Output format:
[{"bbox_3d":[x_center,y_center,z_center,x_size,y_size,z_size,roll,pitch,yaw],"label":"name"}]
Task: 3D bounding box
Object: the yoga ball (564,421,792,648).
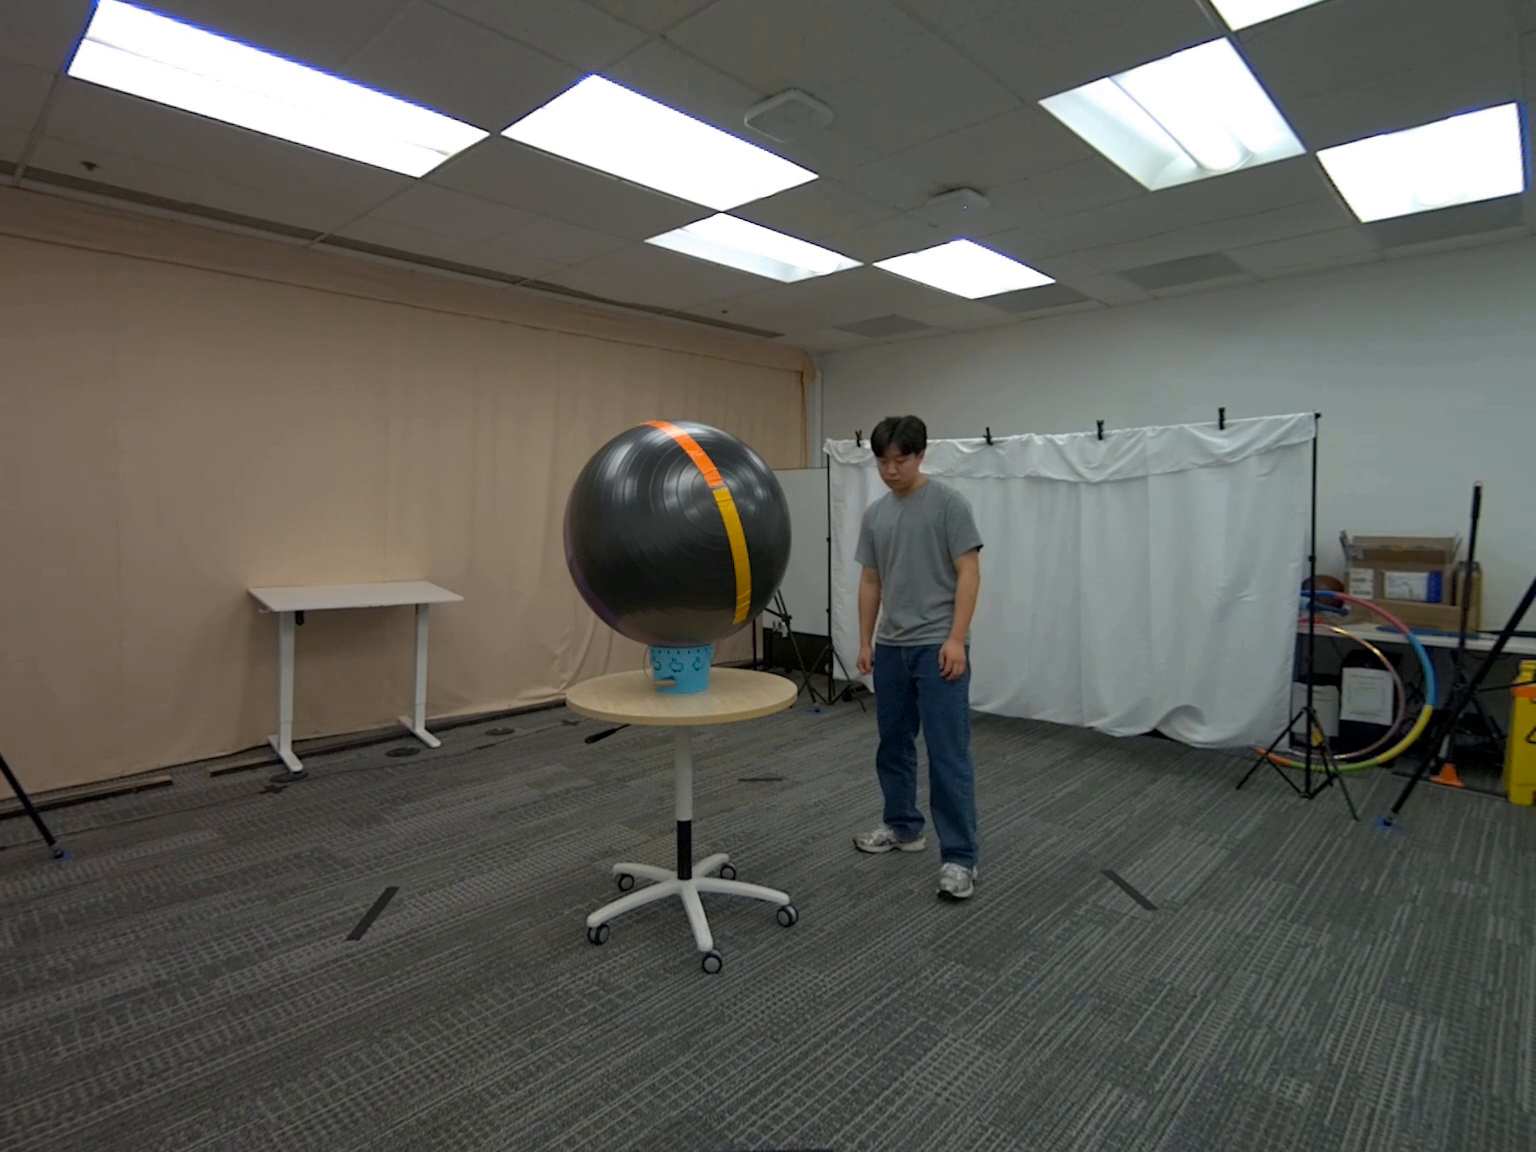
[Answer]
[{"bbox_3d":[-0.301,-0.134,2.809,0.757,0.756,0.760,0,4,-2],"label":"yoga ball"}]
